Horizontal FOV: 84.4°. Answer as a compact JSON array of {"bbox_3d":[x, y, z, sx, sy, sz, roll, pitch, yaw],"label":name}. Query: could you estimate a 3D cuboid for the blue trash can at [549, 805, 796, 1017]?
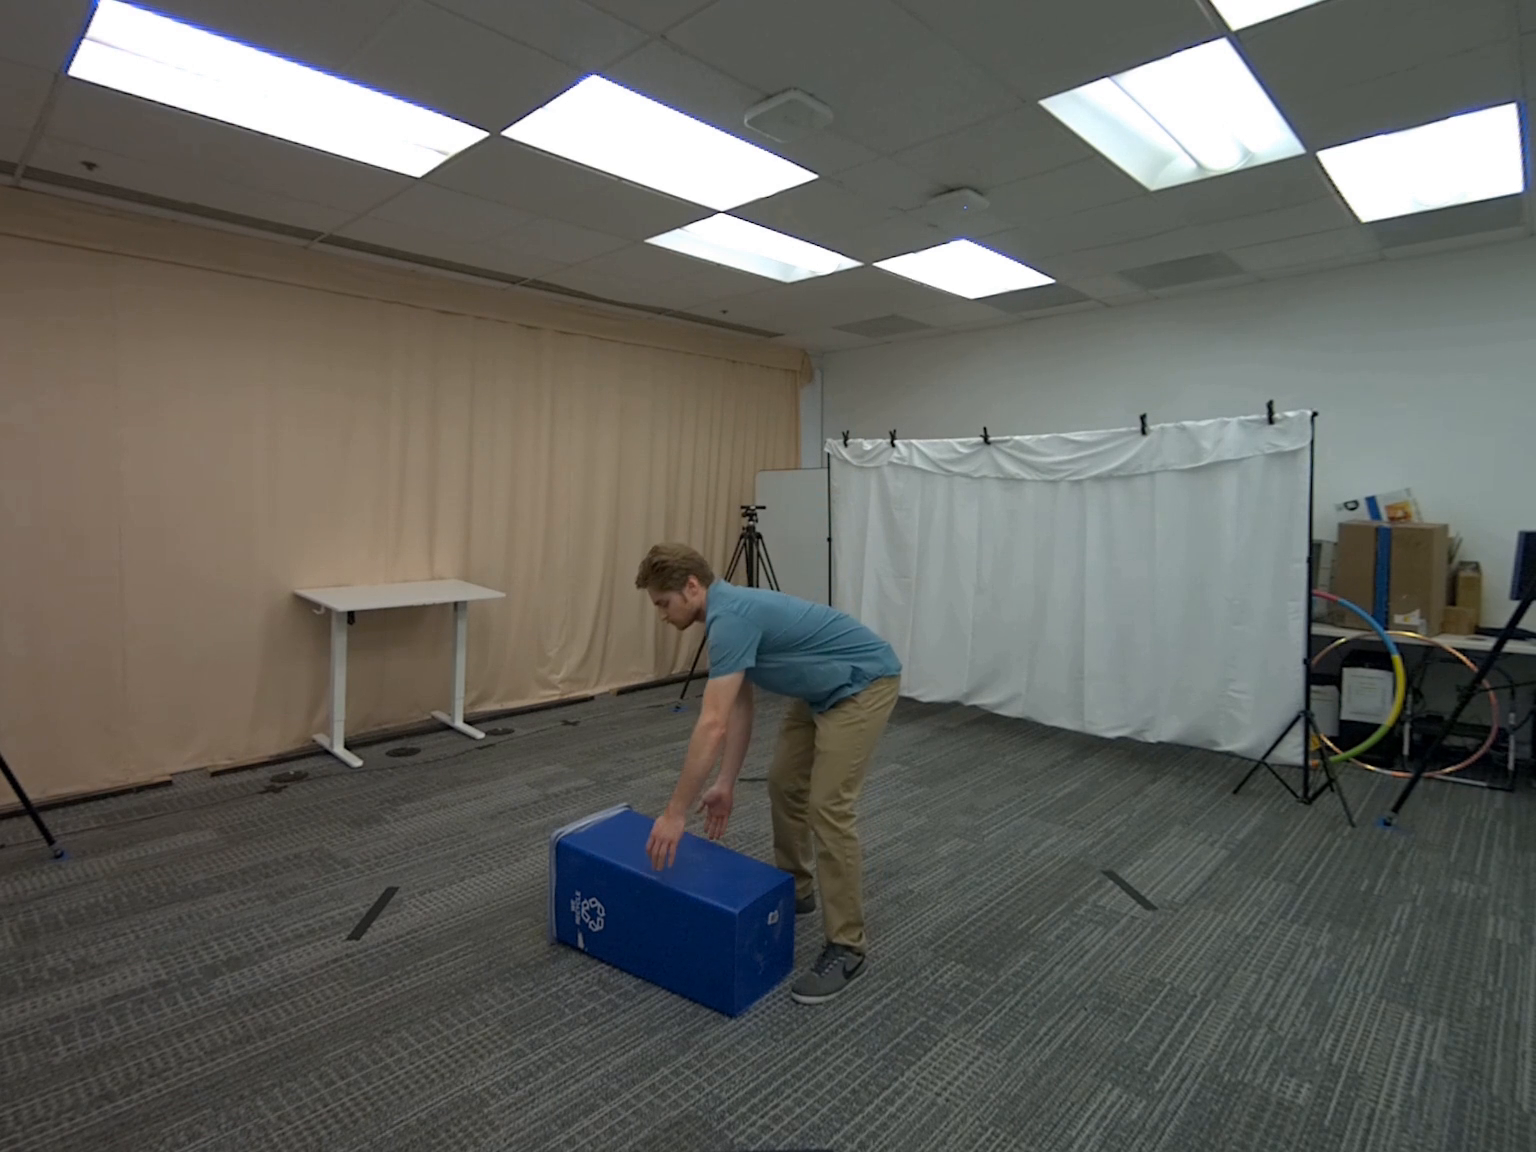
[{"bbox_3d":[-0.293,1.014,2.604,0.737,0.377,0.363,7,6,35],"label":"blue trash can"}]
